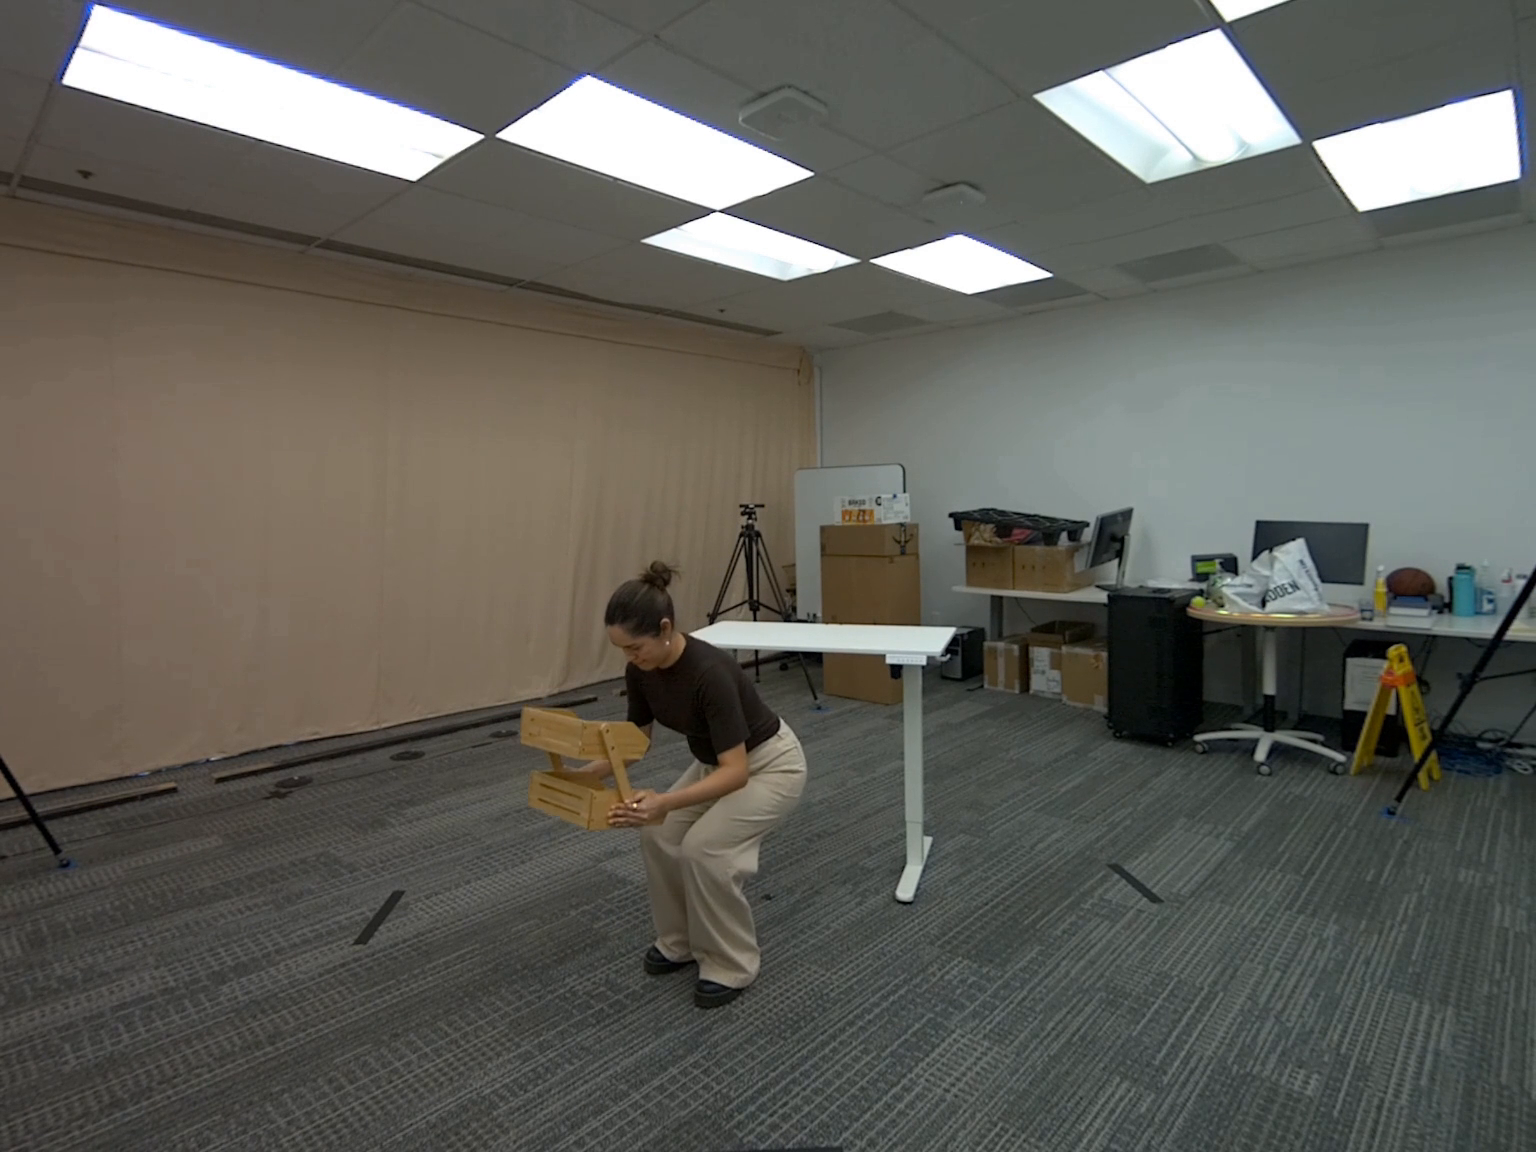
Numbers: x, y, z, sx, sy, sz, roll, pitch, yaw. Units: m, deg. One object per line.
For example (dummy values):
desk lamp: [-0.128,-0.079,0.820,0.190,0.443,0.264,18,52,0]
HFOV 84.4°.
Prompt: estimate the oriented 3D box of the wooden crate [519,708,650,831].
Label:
wooden crate: [-0.454,0.494,2.231,0.291,0.274,0.335,10,-8,-43]
